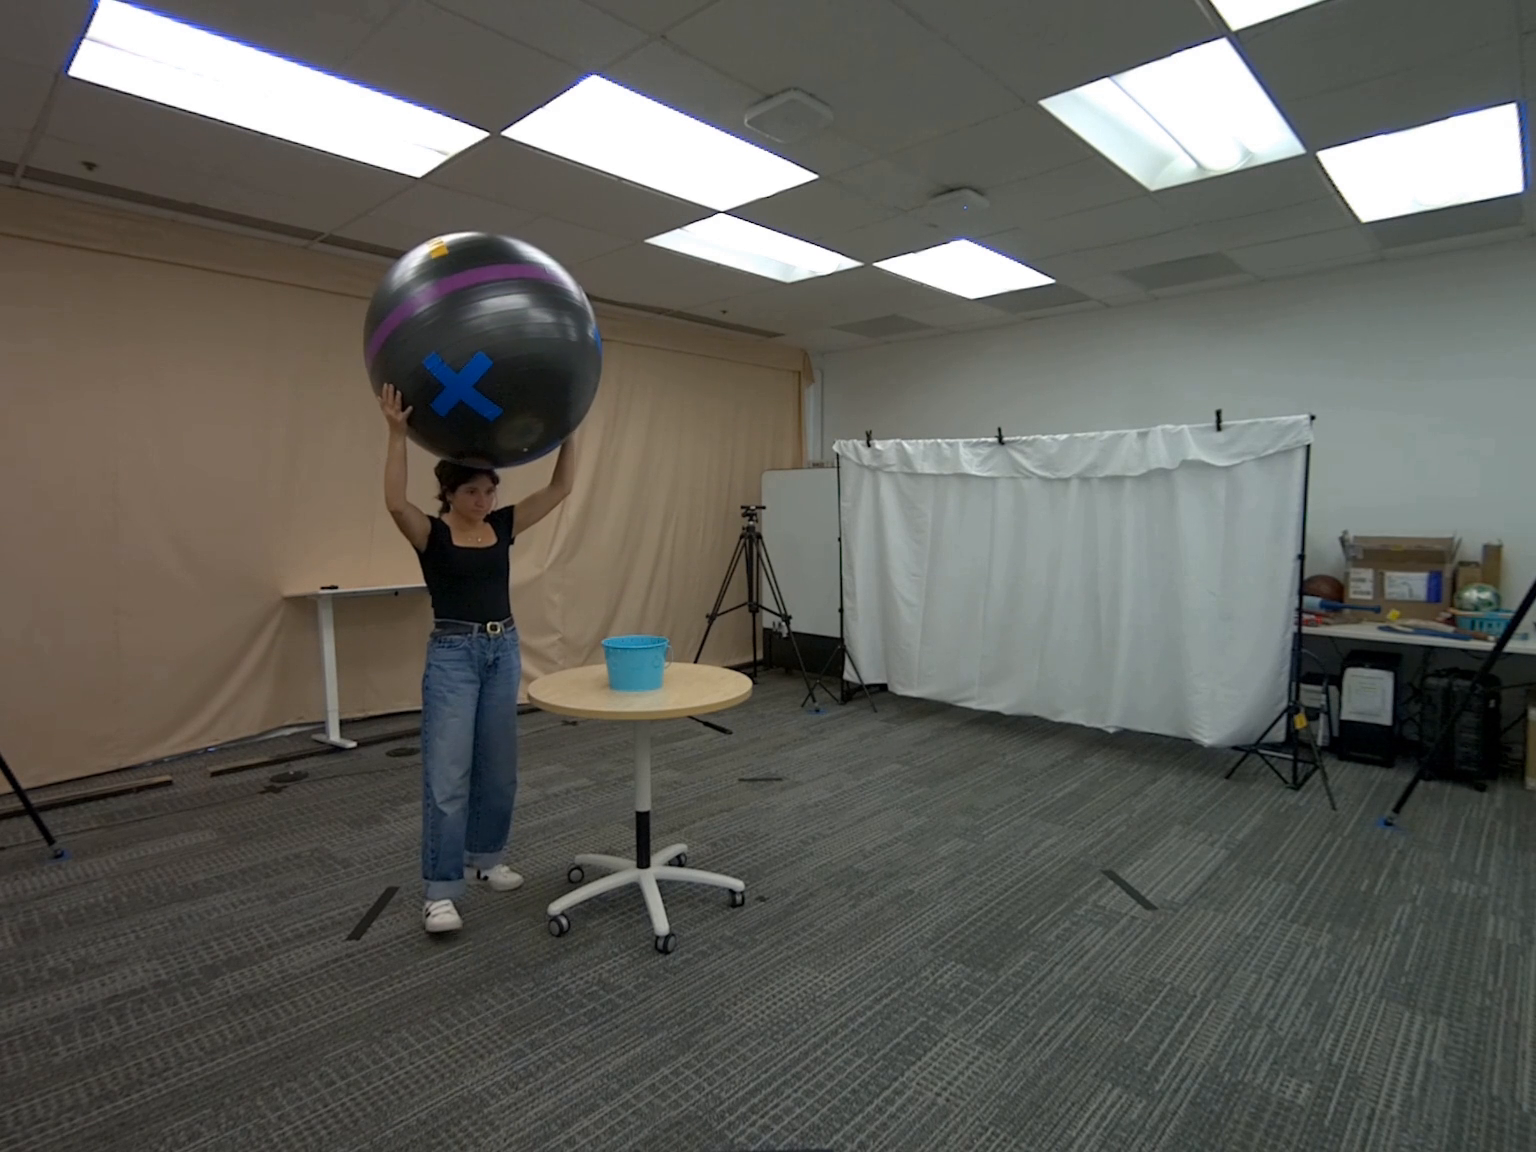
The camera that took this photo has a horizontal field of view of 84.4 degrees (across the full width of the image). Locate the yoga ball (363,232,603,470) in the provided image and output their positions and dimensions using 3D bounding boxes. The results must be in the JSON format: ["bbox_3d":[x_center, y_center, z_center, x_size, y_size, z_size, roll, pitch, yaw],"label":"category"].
[{"bbox_3d":[-0.933,-0.729,2.771,0.757,0.756,0.760,0,4,-2],"label":"yoga ball"}]
